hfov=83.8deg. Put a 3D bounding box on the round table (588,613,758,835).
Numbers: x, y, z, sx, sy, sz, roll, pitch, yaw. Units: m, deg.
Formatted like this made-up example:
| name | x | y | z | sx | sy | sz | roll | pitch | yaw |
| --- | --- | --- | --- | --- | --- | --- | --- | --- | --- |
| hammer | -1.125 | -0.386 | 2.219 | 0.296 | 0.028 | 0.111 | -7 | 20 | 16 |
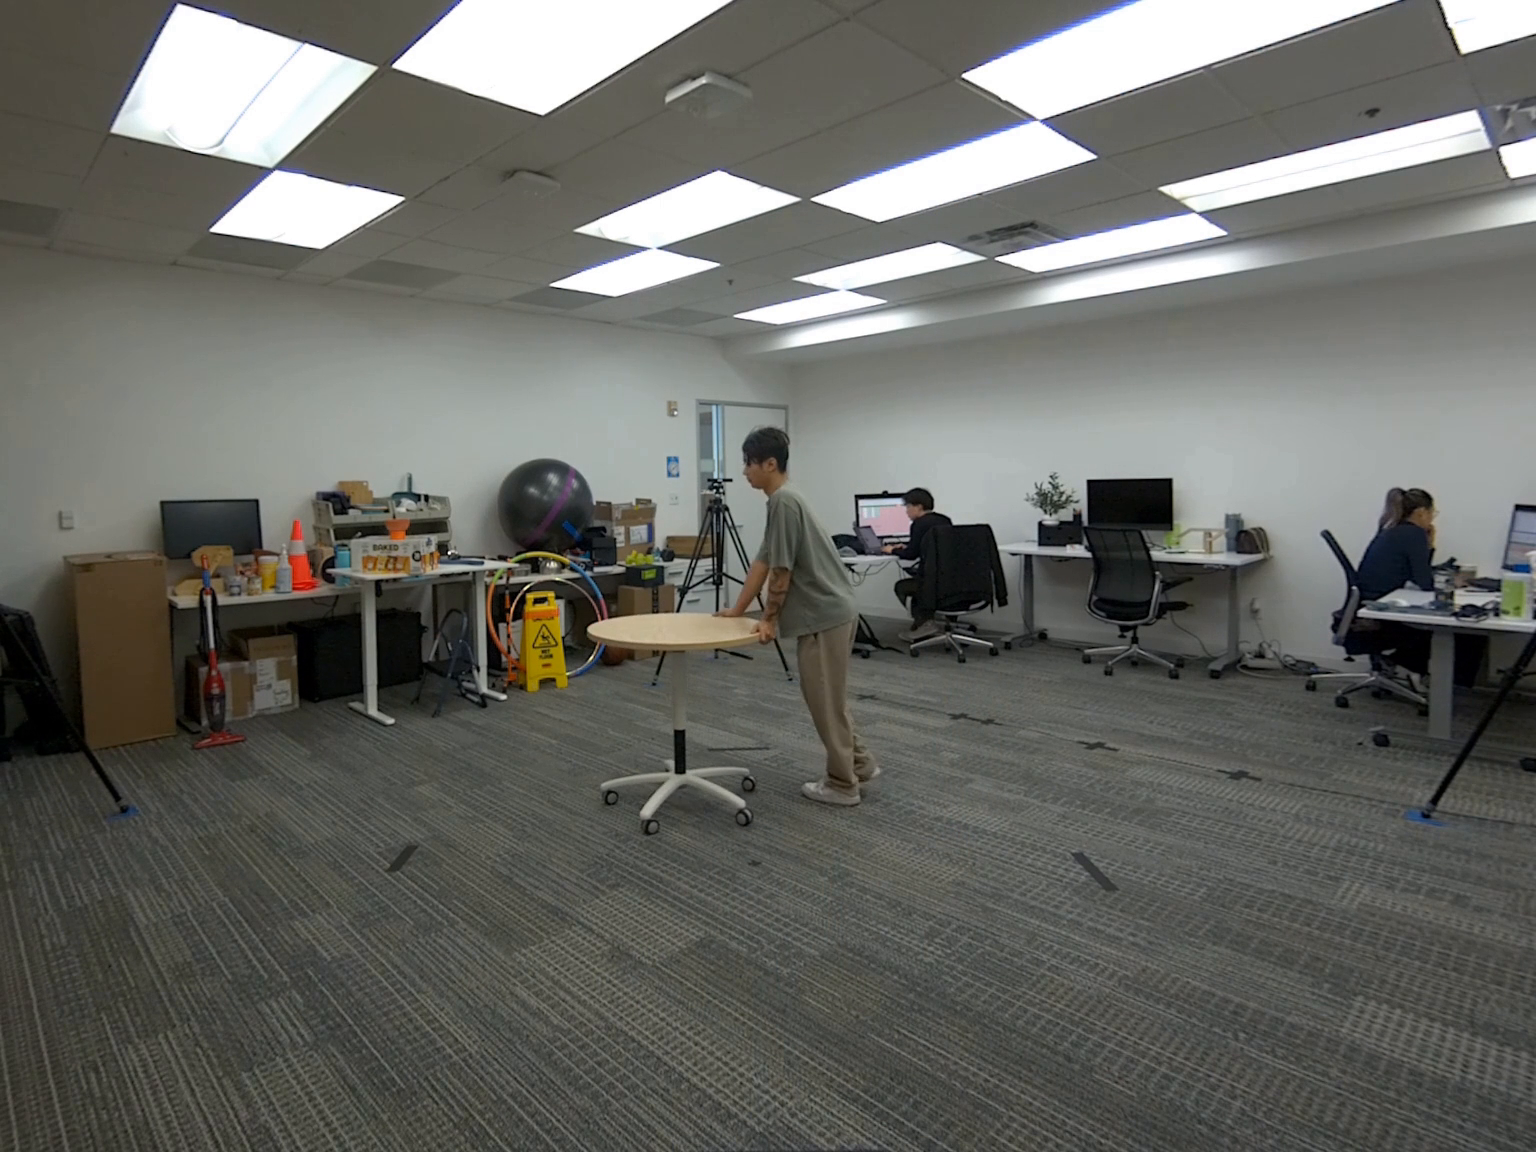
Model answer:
| name | x | y | z | sx | sy | sz | roll | pitch | yaw |
| --- | --- | --- | --- | --- | --- | --- | --- | --- | --- |
| round table | -0.383 | 0.599 | 3.660 | 0.784 | 0.783 | 0.789 | 0 | 5 | -2 |
